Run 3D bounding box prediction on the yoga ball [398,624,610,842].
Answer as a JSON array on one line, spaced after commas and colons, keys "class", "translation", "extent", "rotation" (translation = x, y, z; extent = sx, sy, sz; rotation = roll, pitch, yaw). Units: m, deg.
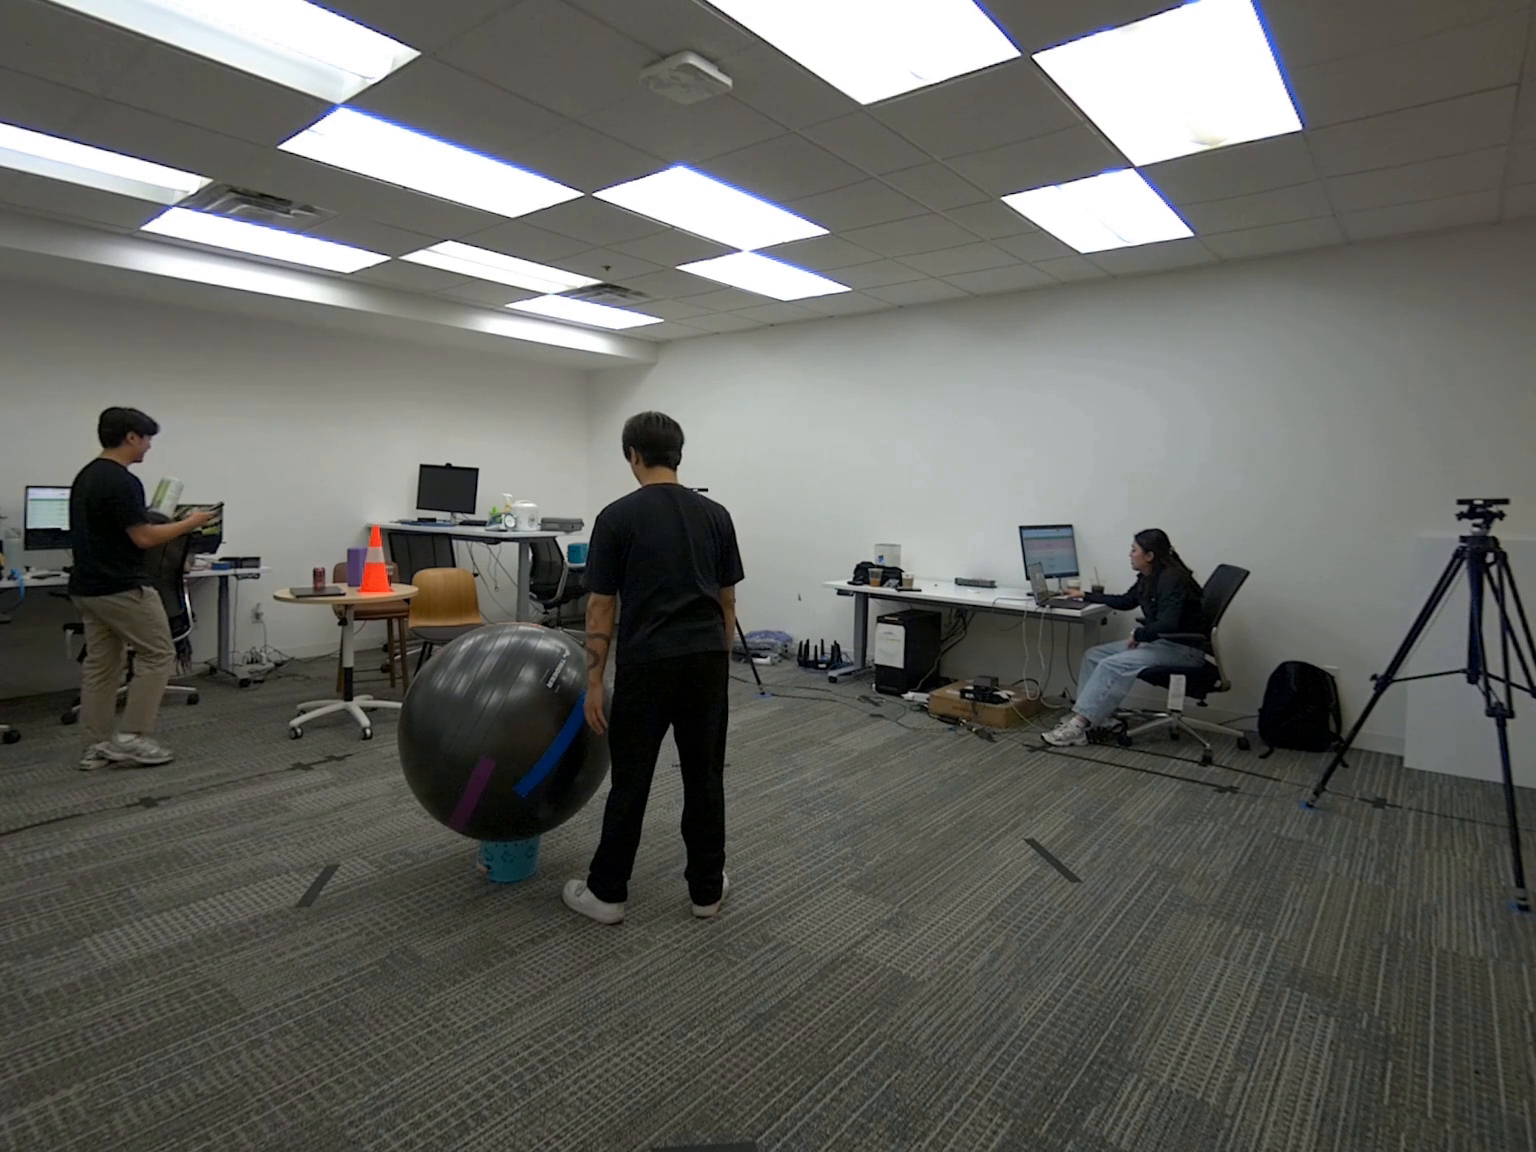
[{"class": "yoga ball", "translation": [-0.945, 0.557, 3.050], "extent": [0.757, 0.755, 0.762], "rotation": [1, 4, -2]}]
